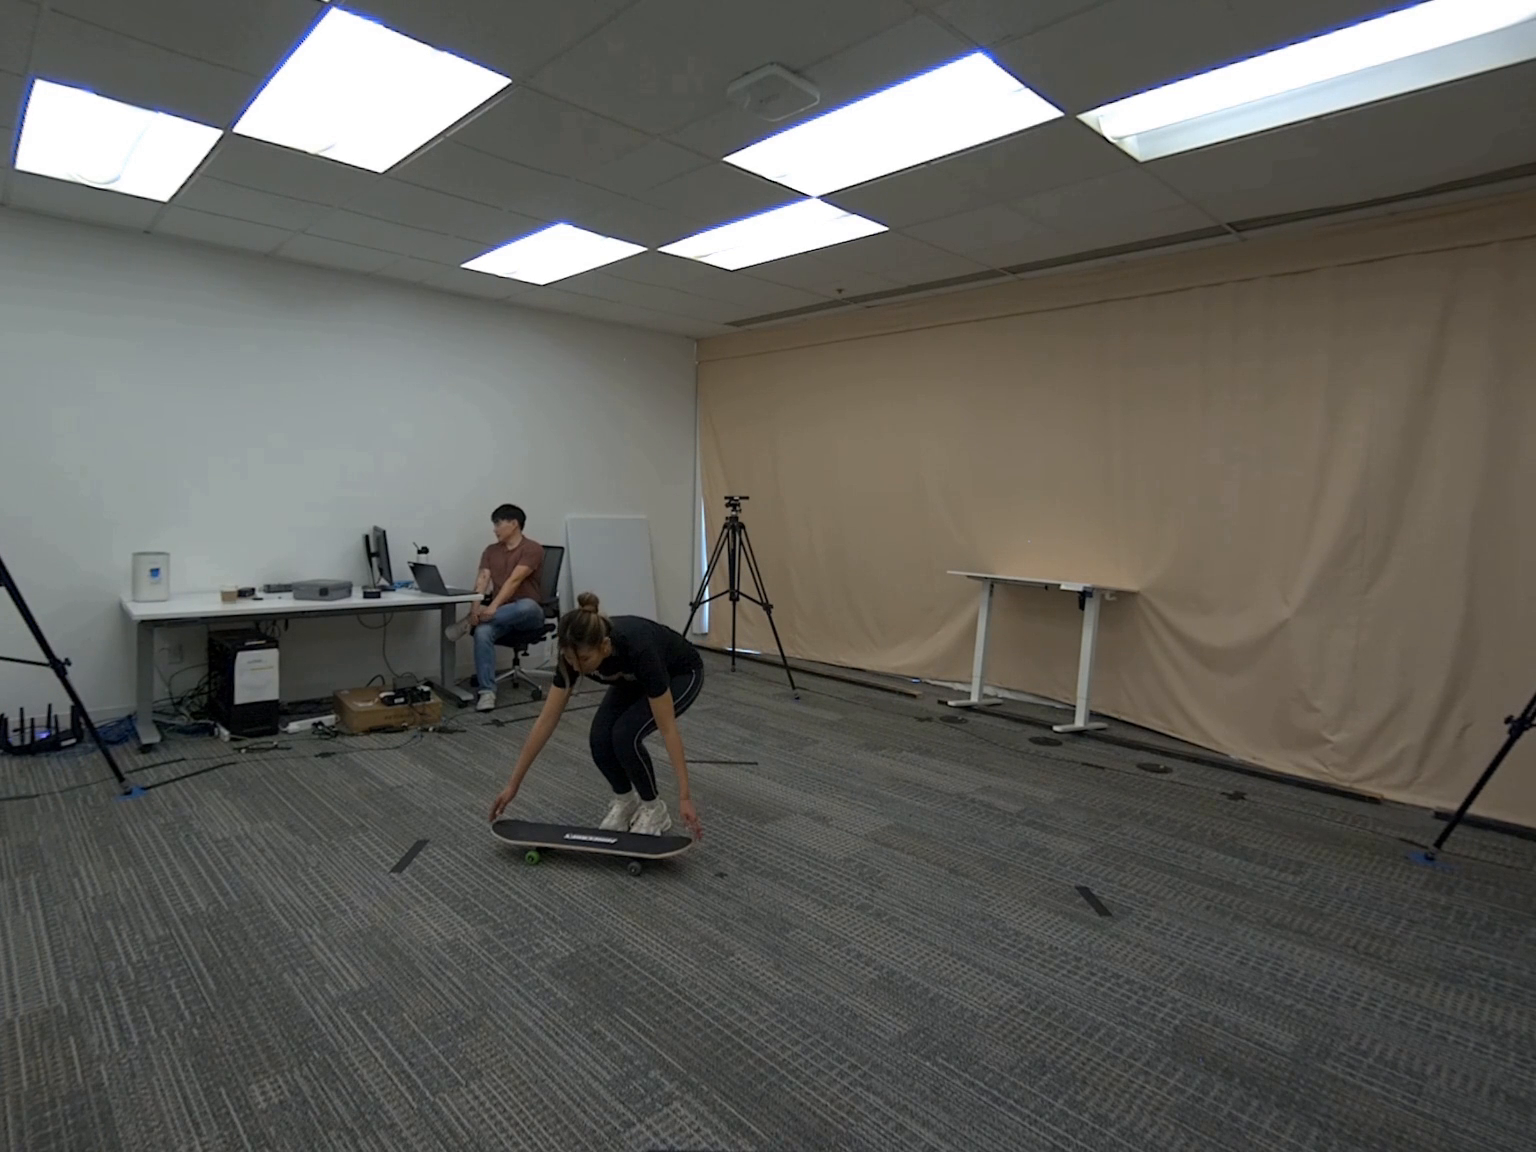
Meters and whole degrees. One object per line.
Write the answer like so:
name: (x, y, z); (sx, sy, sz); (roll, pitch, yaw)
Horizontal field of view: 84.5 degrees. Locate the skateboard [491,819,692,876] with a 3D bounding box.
skateboard: (-0.658, 1.015, 3.190); (0.792, 0.110, 0.192); (2, 4, 10)
